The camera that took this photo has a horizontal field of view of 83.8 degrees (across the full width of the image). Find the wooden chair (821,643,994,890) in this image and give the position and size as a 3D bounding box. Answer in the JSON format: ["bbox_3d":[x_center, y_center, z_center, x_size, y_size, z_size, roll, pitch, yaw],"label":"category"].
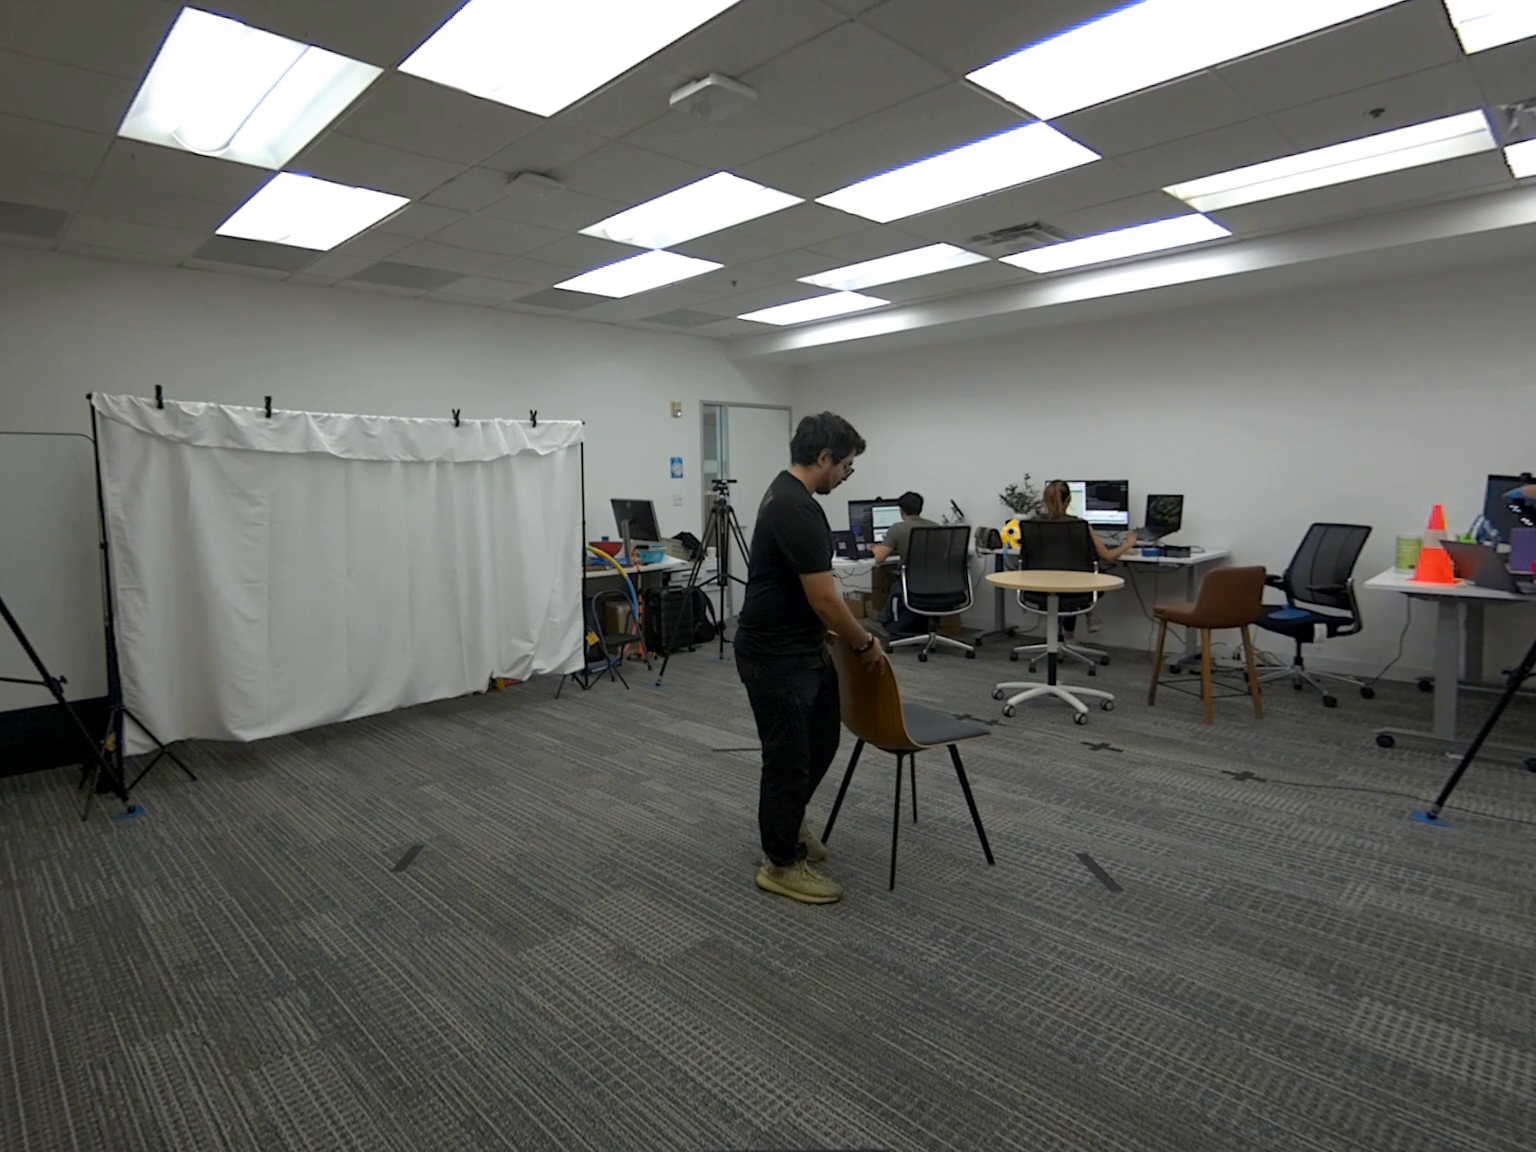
[{"bbox_3d":[0.513,0.603,3.154,0.513,0.873,0.490,-7,6,-26],"label":"wooden chair"}]
